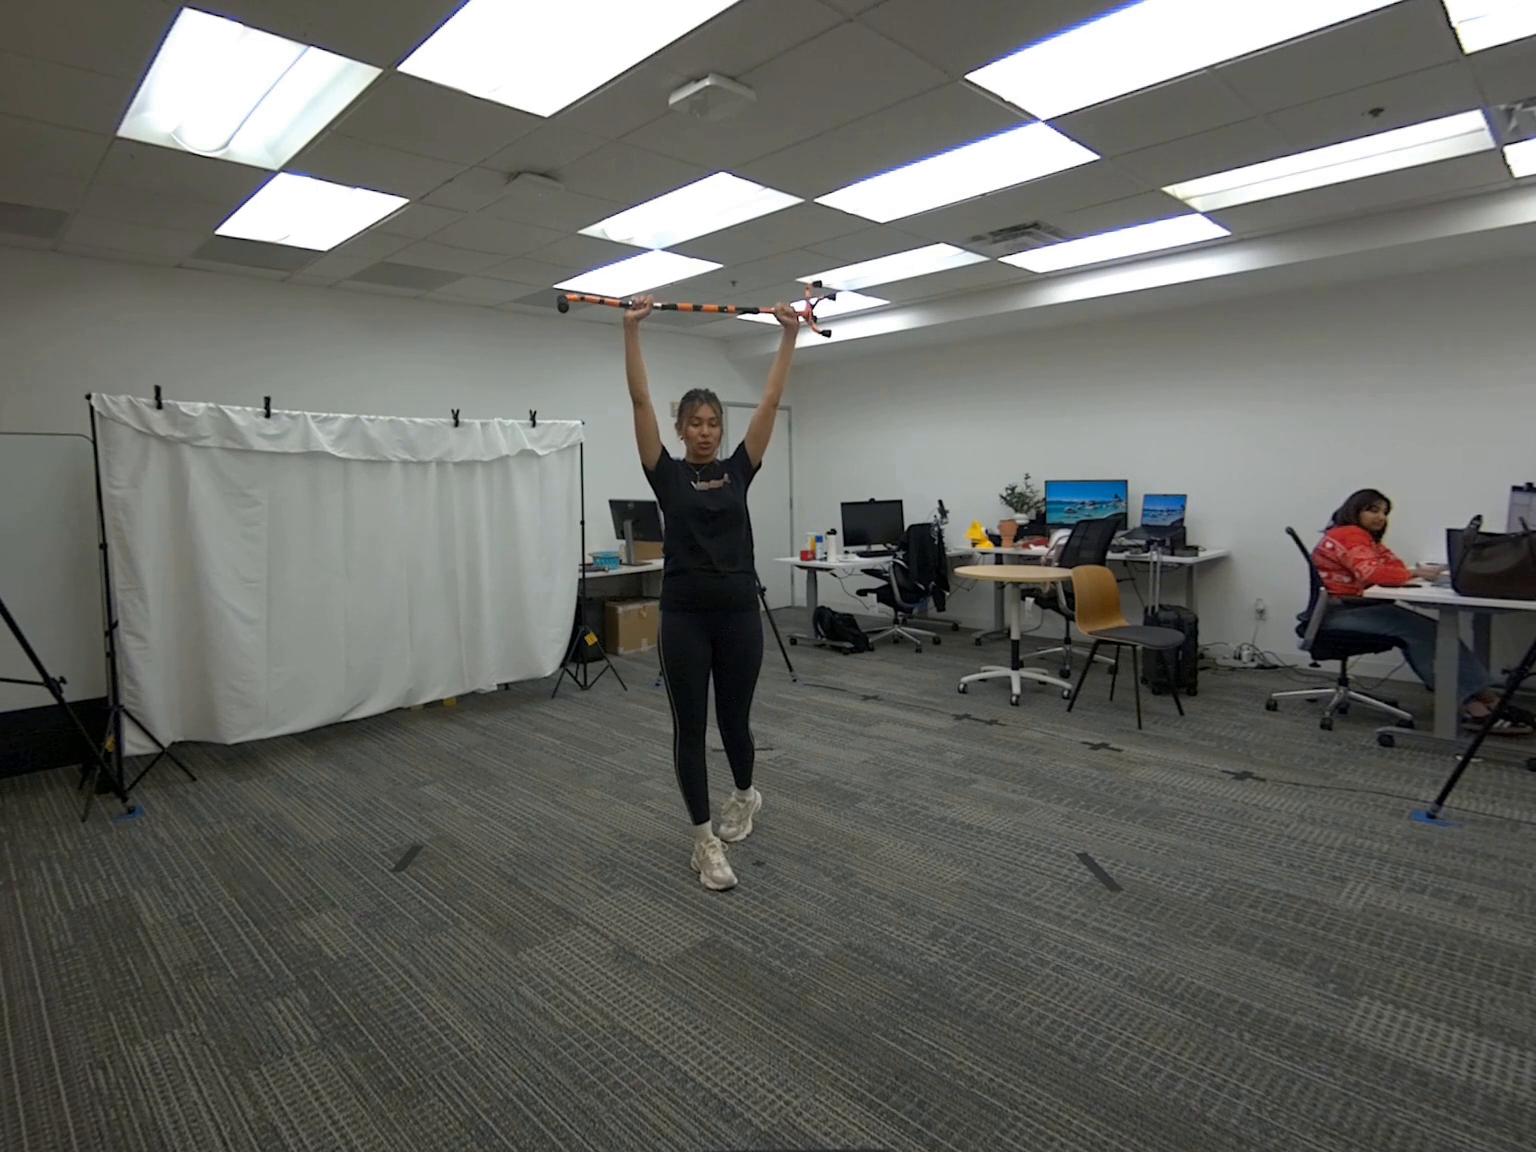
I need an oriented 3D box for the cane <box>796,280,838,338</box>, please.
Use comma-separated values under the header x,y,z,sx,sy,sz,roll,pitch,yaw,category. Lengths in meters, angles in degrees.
x,y,z,sx,sy,sz,roll,pitch,yaw,category
-0.239,-0.909,2.852,0.897,0.148,0.213,-1,30,-12,cane
